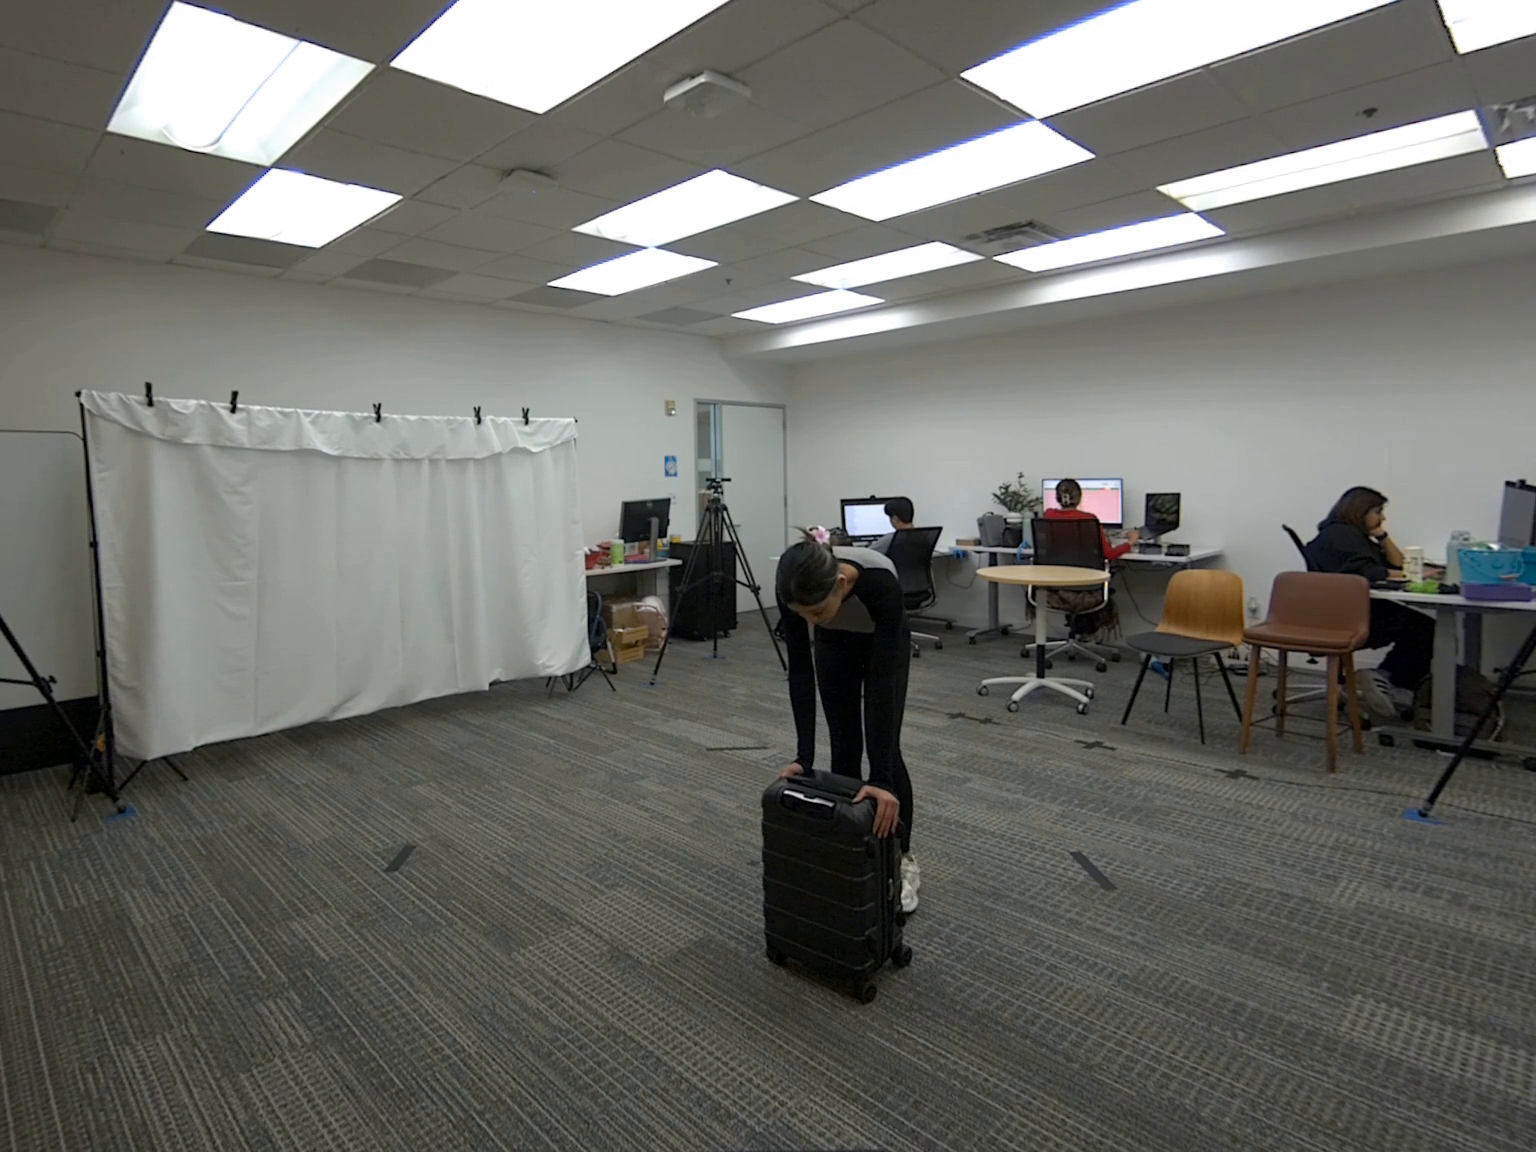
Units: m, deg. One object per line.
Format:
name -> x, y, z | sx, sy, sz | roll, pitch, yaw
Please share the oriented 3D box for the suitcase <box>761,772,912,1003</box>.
suitcase -> 0.184, 0.846, 2.427 | 0.386, 0.546, 0.242 | 2, 7, 38
